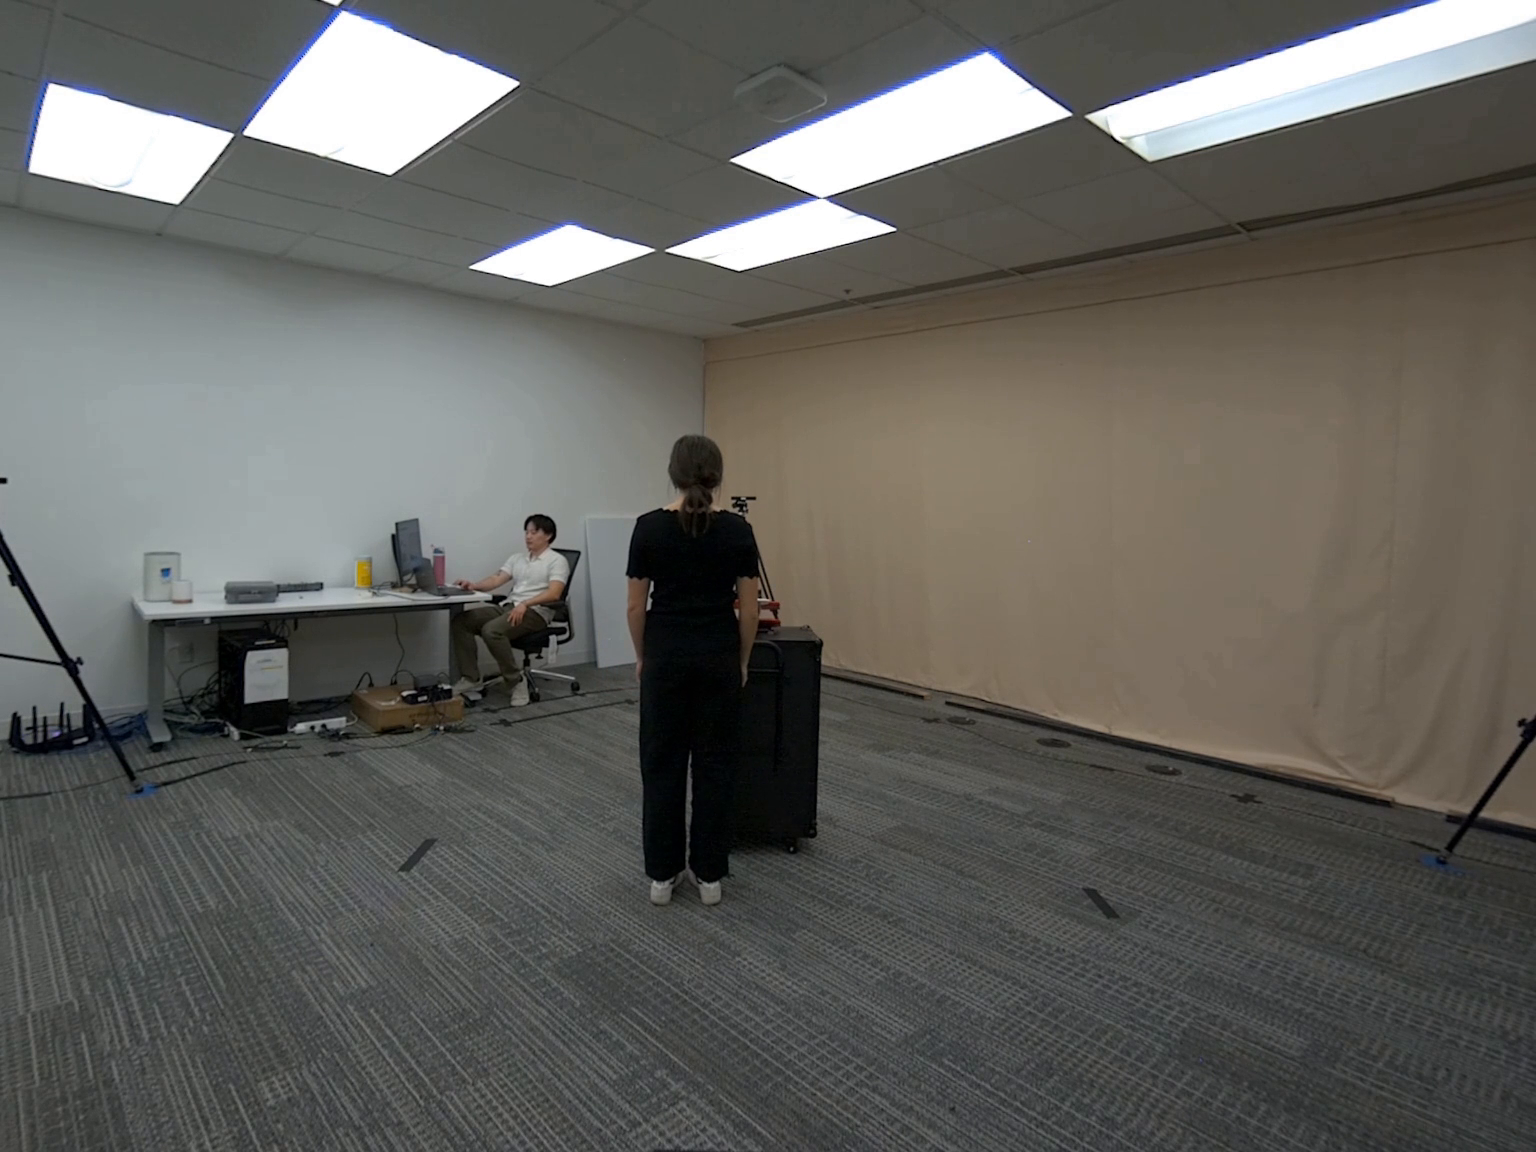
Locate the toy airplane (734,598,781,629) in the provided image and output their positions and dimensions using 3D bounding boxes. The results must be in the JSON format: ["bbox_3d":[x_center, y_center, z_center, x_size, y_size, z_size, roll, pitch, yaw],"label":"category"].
[{"bbox_3d":[-0.099,0.133,3.436,0.255,0.157,0.254,-1,-6,19],"label":"toy airplane"}]
